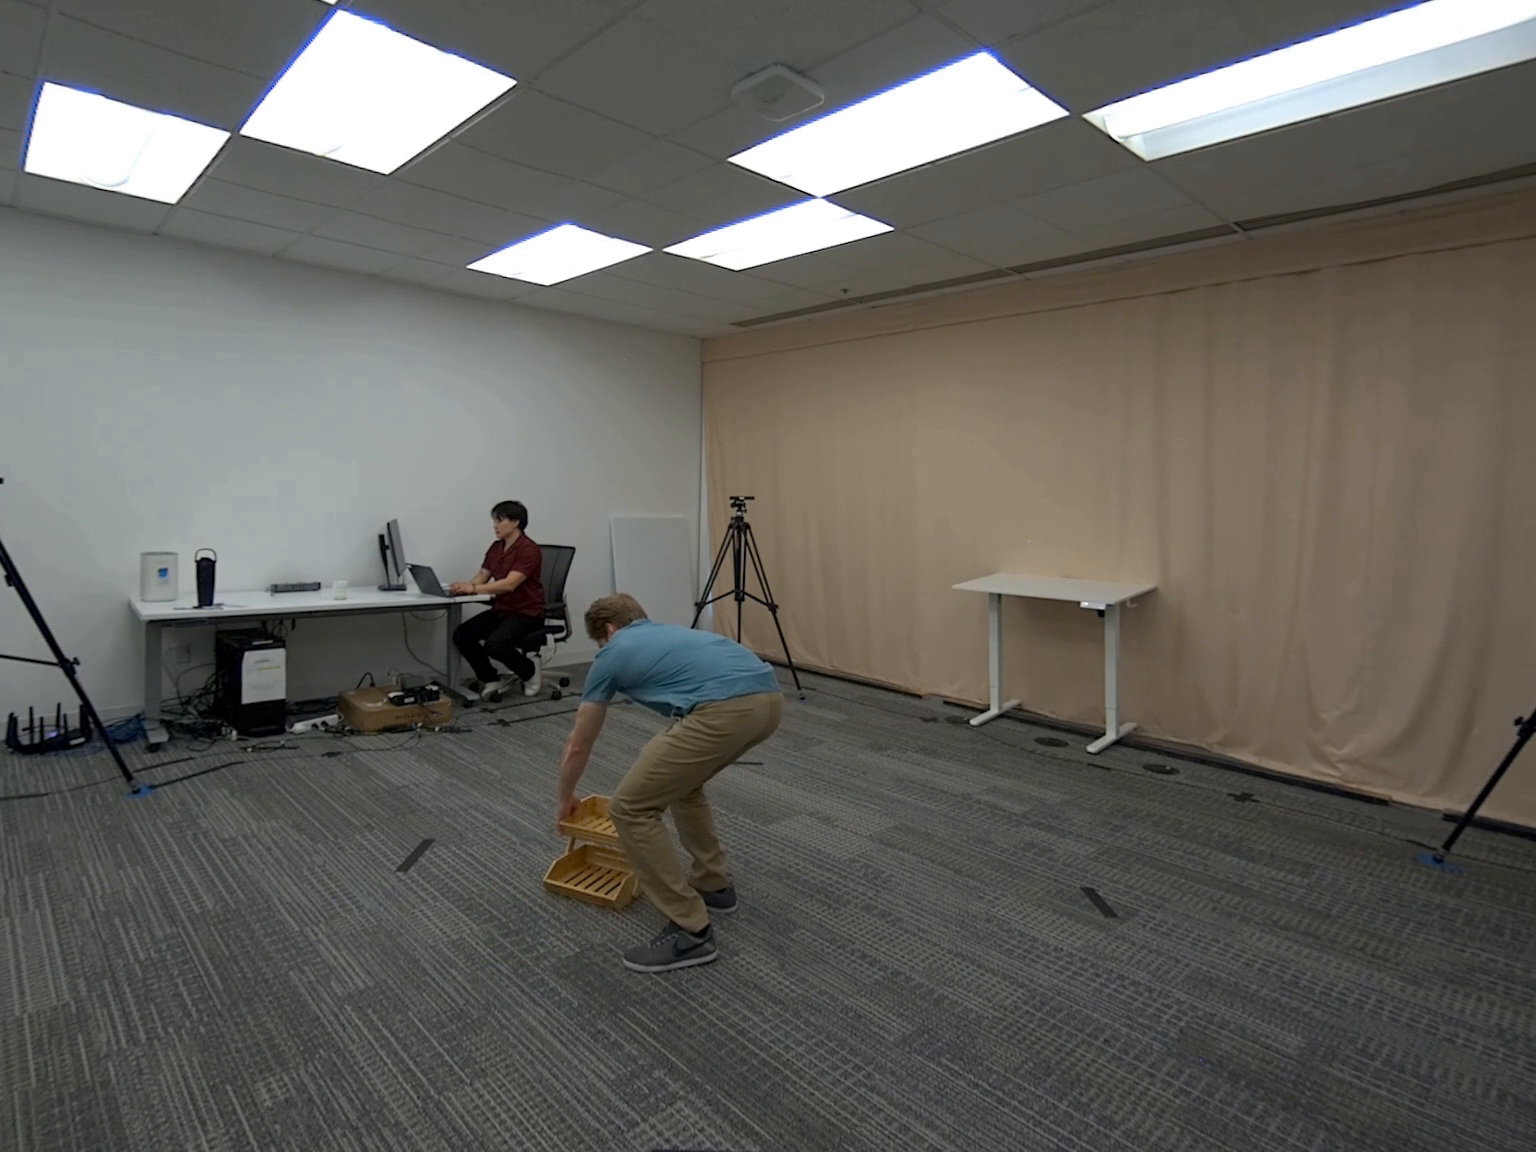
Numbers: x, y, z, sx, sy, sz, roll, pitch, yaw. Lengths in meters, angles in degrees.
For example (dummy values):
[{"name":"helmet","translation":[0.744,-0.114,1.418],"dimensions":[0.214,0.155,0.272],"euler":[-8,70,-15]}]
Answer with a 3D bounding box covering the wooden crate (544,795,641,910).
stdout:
[{"name":"wooden crate","translation":[-0.593,0.978,2.981],"dimensions":[0.330,0.273,0.297],"euler":[3,4,23]}]
